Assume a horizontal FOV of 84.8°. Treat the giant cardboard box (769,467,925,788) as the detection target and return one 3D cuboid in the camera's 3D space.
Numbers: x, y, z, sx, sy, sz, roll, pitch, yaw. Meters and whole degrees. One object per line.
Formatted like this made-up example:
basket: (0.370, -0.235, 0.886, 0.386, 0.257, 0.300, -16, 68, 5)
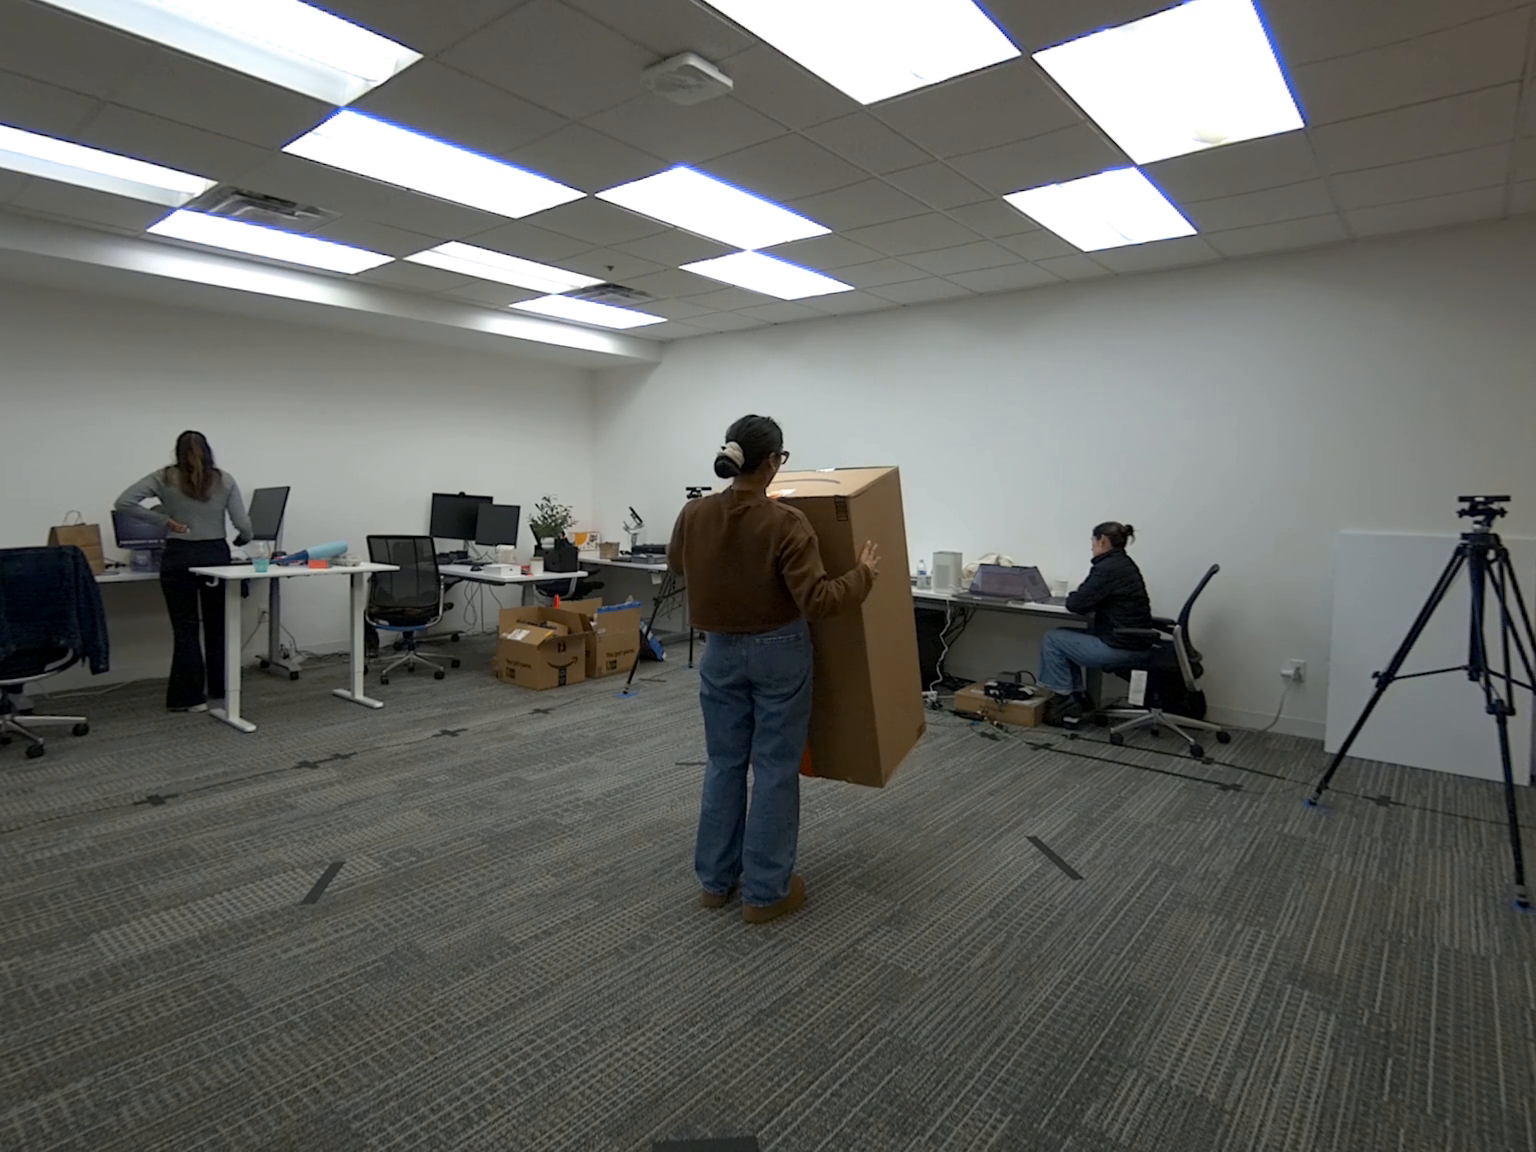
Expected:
giant cardboard box: (0.174, 0.157, 3.079, 0.595, 1.011, 0.420, 1, 17, 34)
